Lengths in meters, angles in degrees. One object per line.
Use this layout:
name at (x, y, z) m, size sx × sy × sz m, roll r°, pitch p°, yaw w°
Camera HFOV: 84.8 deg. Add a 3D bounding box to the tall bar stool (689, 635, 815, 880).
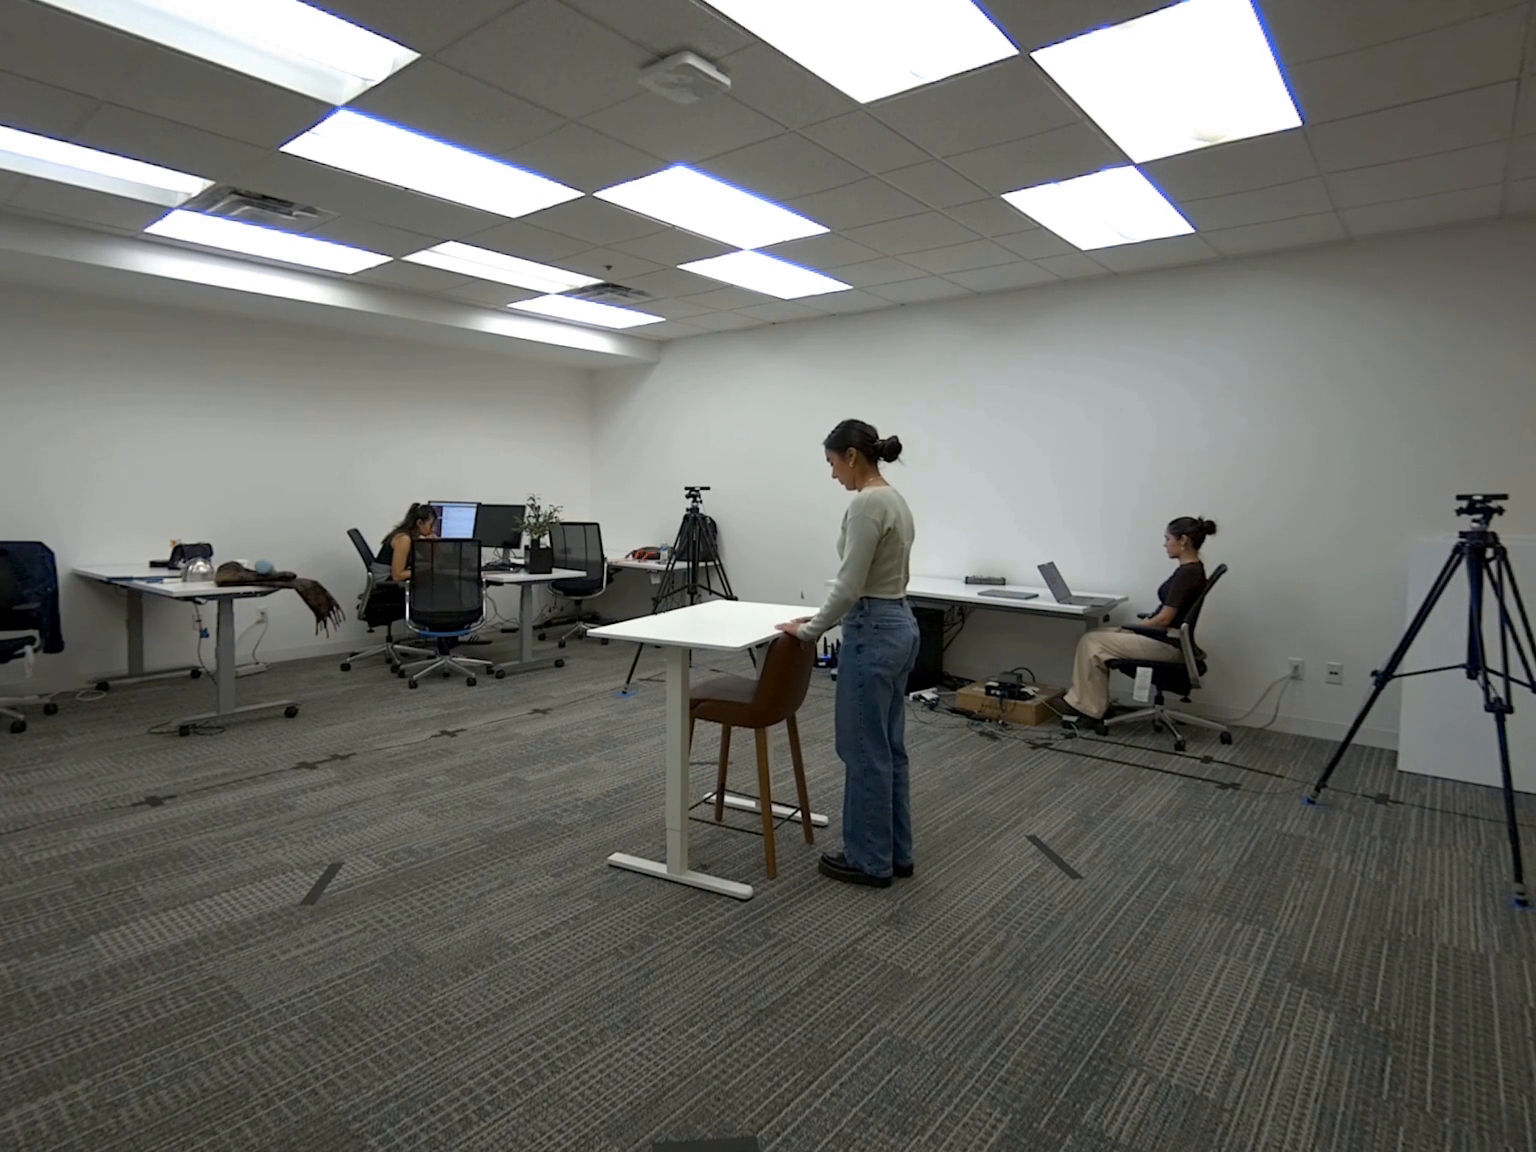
tall bar stool at (-0.093, 0.617, 3.274) m, size 0.481 × 0.887 × 0.445 m, roll 5°, pitch 4°, yaw 27°
